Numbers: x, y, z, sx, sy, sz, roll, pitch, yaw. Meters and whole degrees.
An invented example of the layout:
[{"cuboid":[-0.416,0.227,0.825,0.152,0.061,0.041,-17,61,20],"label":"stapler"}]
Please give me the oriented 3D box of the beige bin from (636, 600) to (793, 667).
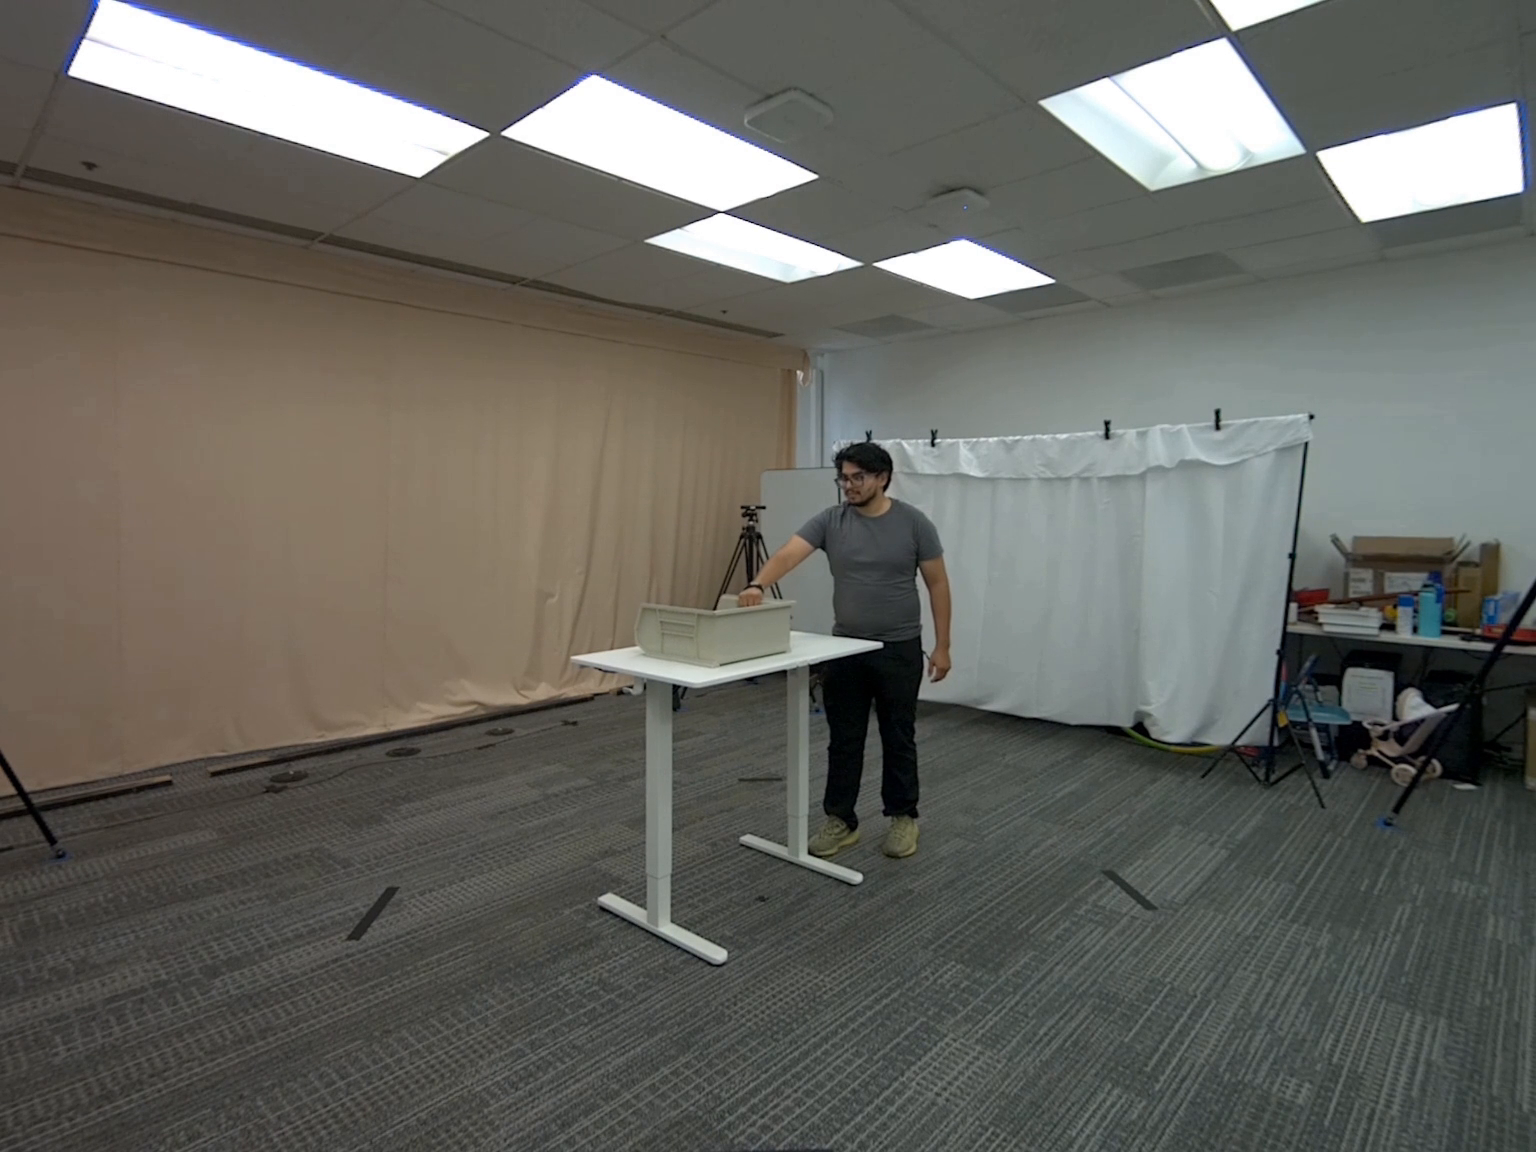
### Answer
[{"cuboid":[-0.182,0.179,2.896,0.390,0.188,0.409,6,7,41],"label":"beige bin"}]
